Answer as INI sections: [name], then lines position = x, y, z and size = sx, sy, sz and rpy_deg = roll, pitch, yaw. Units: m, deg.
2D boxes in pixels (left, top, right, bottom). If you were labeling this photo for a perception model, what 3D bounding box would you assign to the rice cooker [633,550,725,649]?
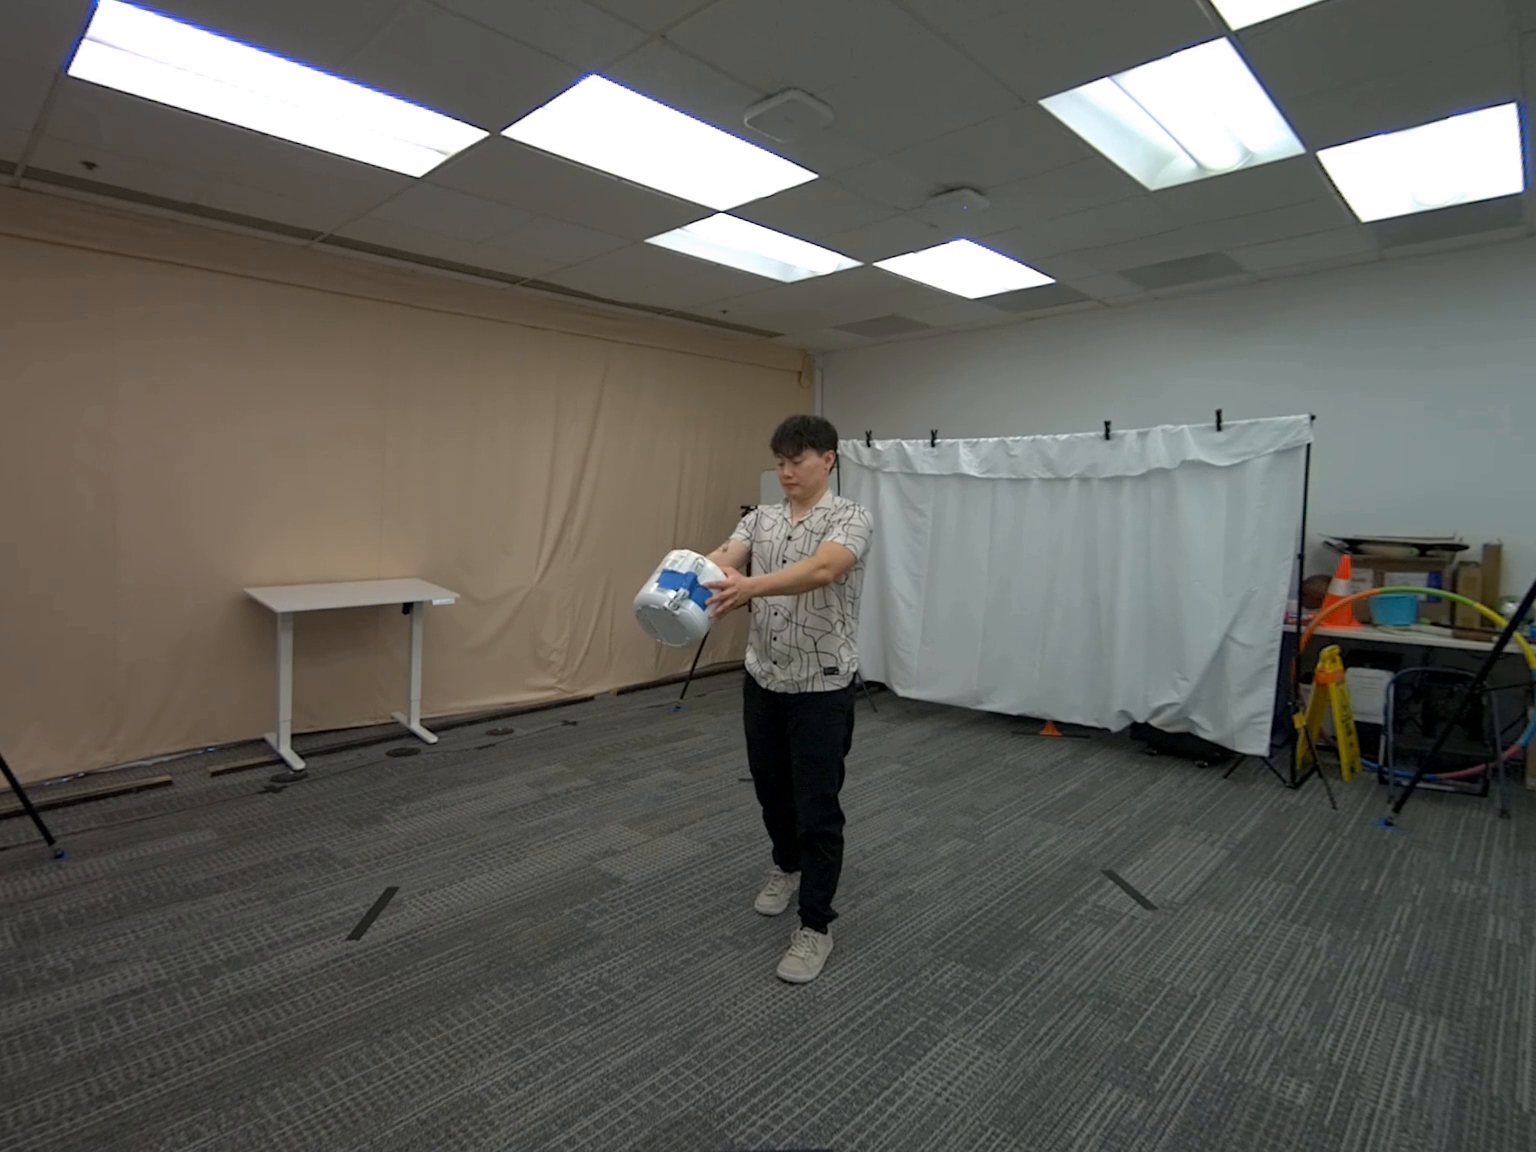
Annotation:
[rice cooker]
position = -0.220, 0.056, 2.257
size = 0.224, 0.214, 0.232
rpy_deg = 0, 41, 39
